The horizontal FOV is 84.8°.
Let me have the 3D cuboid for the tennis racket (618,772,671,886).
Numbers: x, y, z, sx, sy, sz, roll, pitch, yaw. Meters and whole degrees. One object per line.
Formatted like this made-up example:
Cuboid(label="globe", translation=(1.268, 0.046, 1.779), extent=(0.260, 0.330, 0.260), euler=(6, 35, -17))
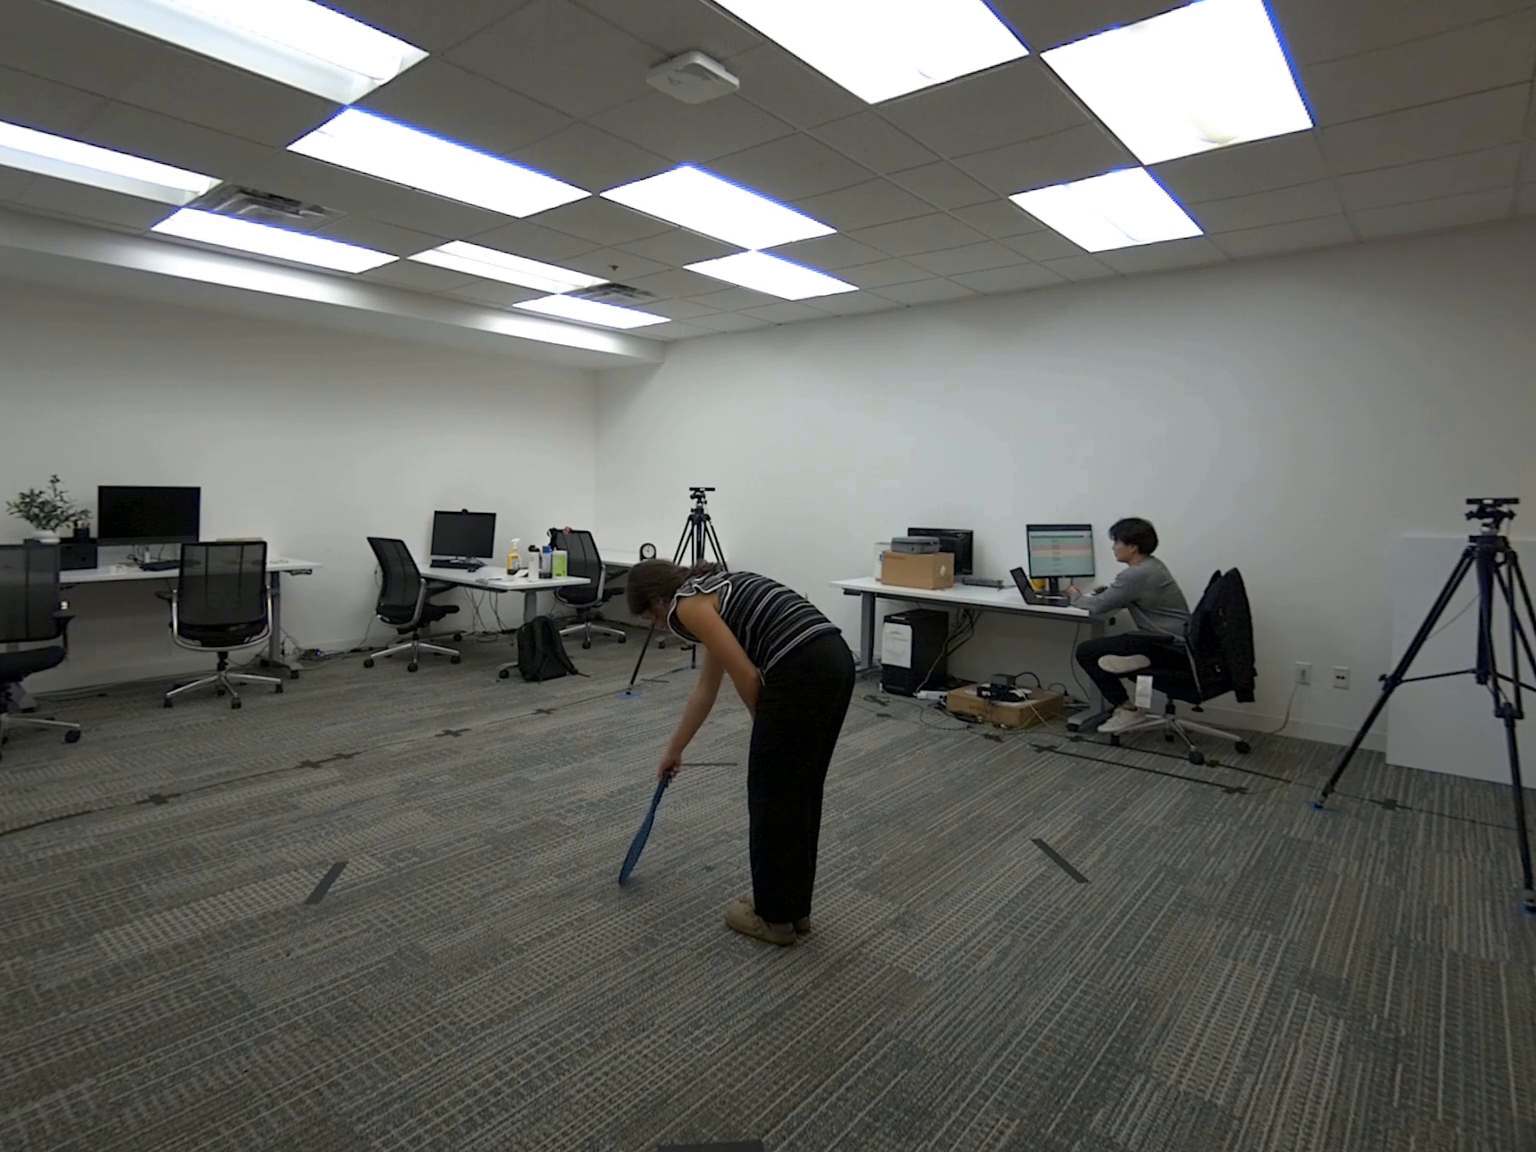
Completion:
Cuboid(label="tennis racket", translation=(-0.435, 0.866, 2.960), extent=(0.032, 0.431, 0.211), euler=(22, 6, 8))
